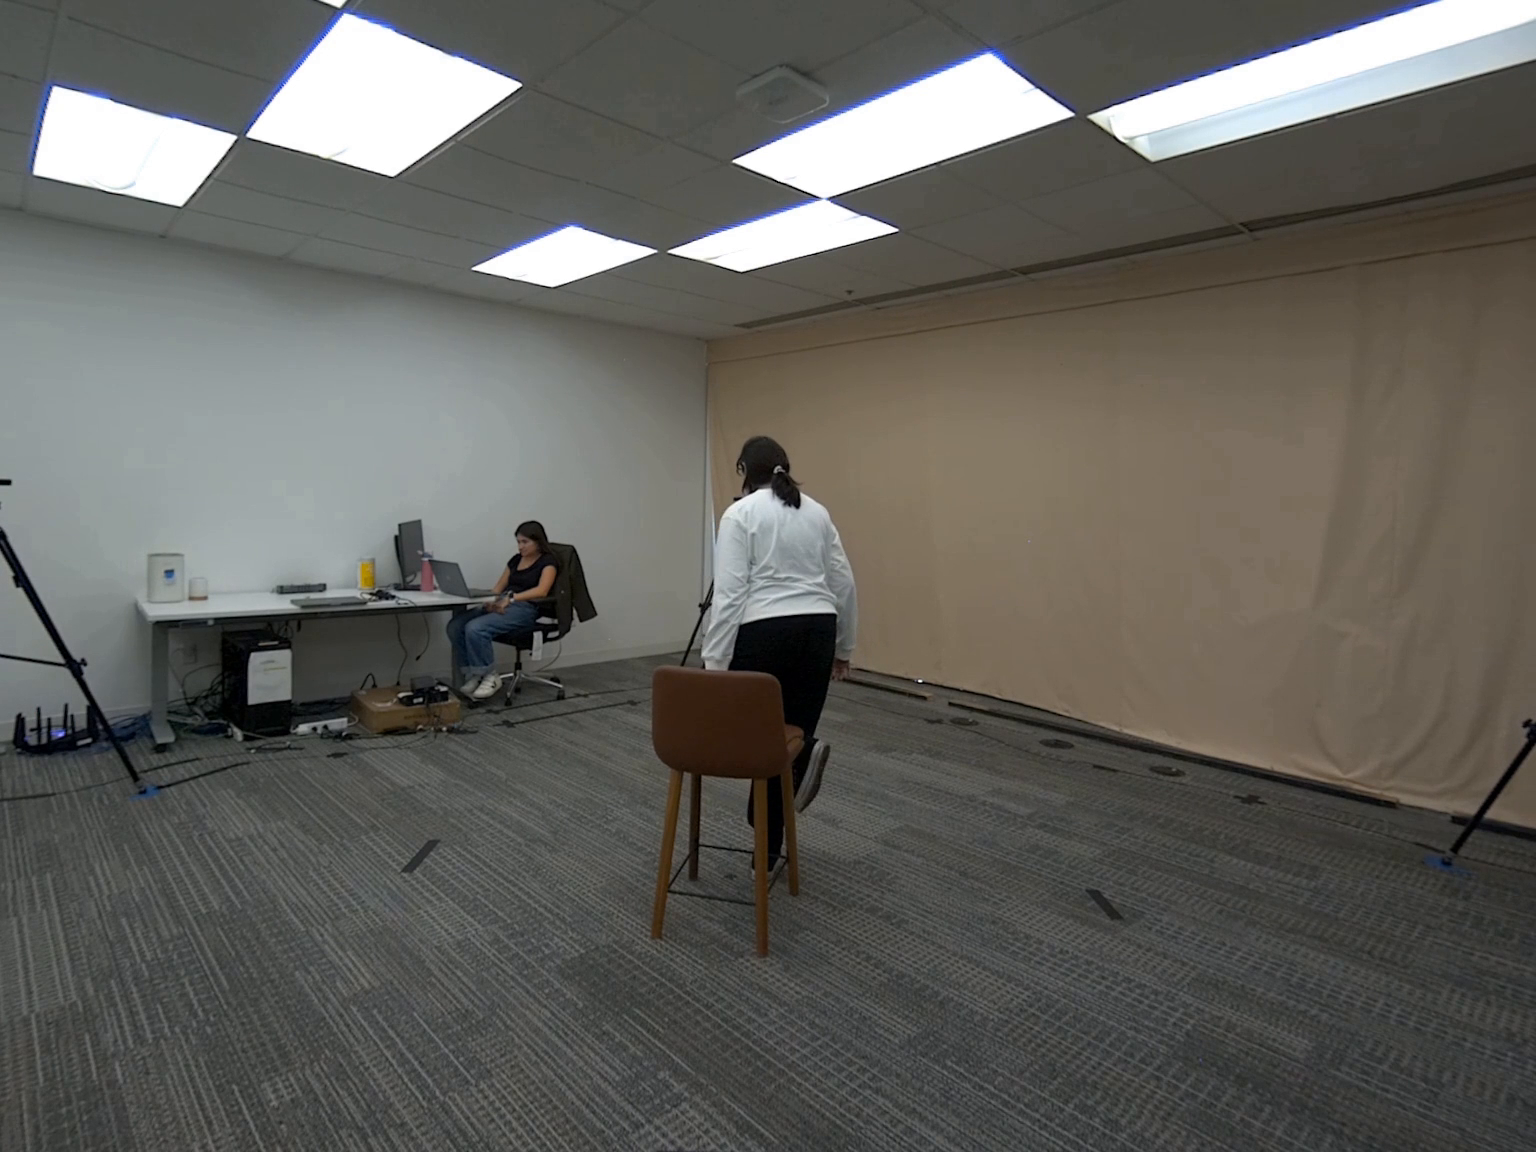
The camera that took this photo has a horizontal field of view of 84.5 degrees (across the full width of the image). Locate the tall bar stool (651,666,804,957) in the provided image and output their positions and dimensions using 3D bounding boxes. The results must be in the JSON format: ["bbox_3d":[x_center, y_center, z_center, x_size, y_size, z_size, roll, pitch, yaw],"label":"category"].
[{"bbox_3d":[-0.138,0.704,2.787,0.462,0.886,0.463,2,5,15],"label":"tall bar stool"}]
